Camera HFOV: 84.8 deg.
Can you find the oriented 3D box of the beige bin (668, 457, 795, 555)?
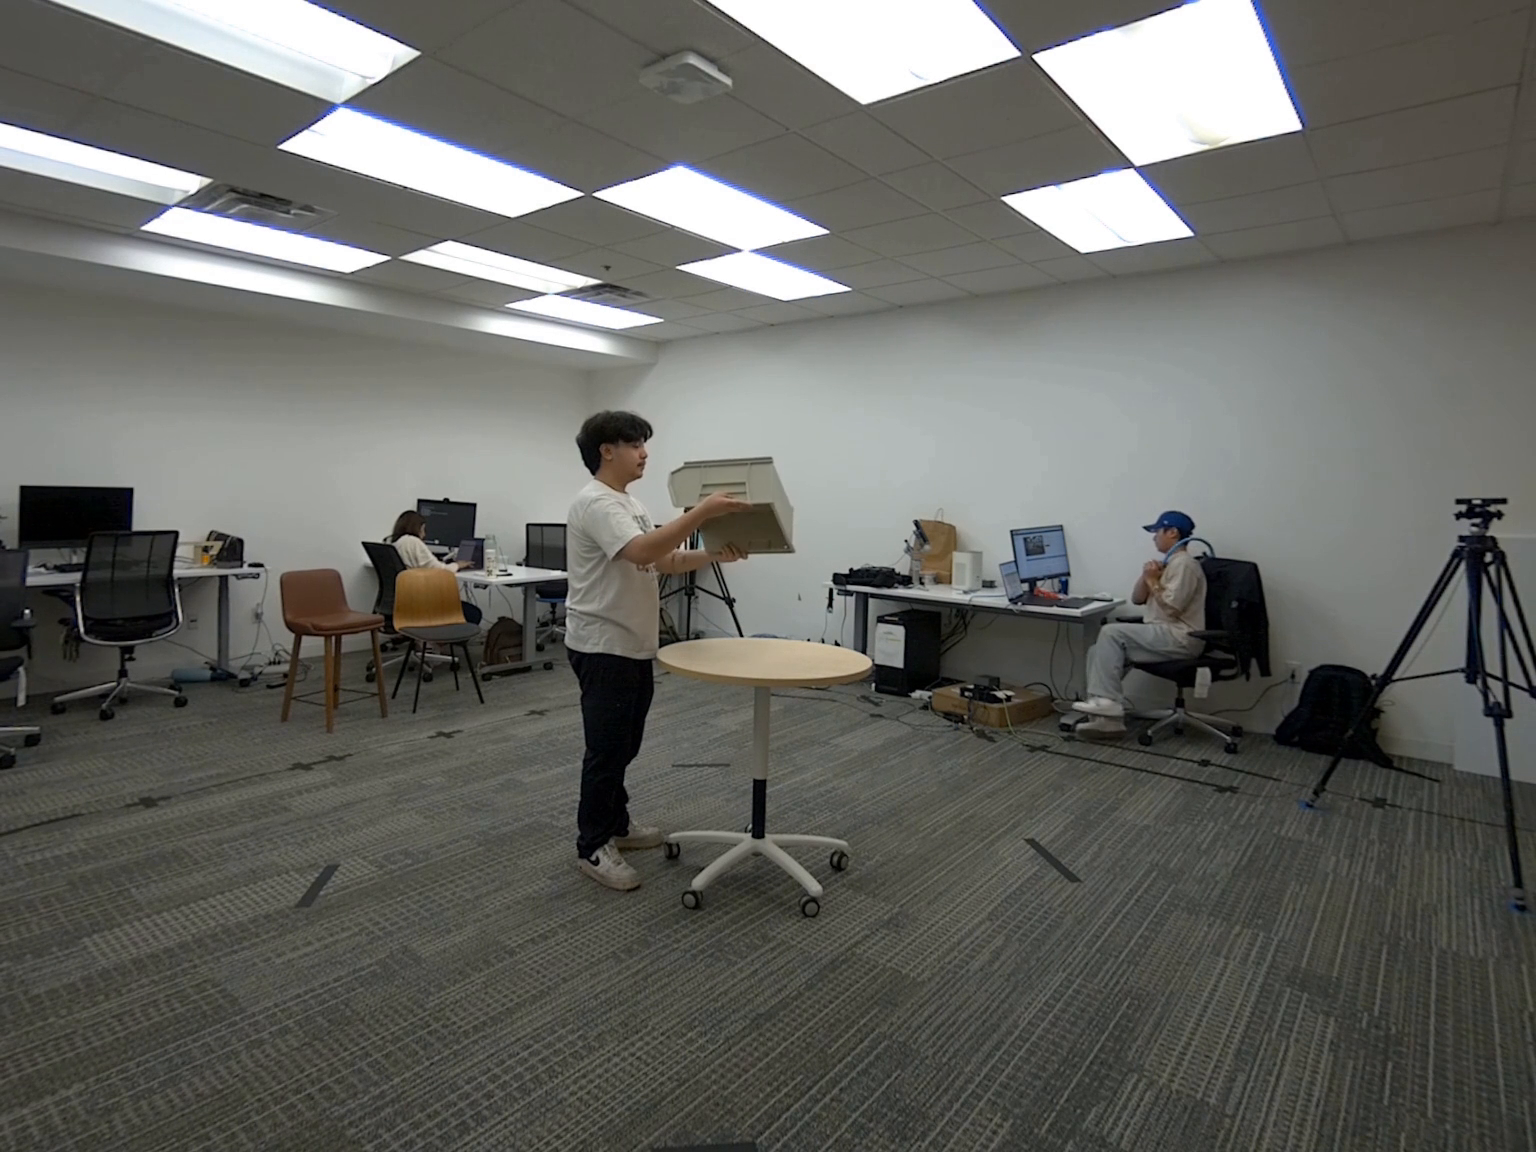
[{"bbox_3d":[-0.135,-0.241,3.057,0.383,0.192,0.408,-1,-23,14],"label":"beige bin"}]
